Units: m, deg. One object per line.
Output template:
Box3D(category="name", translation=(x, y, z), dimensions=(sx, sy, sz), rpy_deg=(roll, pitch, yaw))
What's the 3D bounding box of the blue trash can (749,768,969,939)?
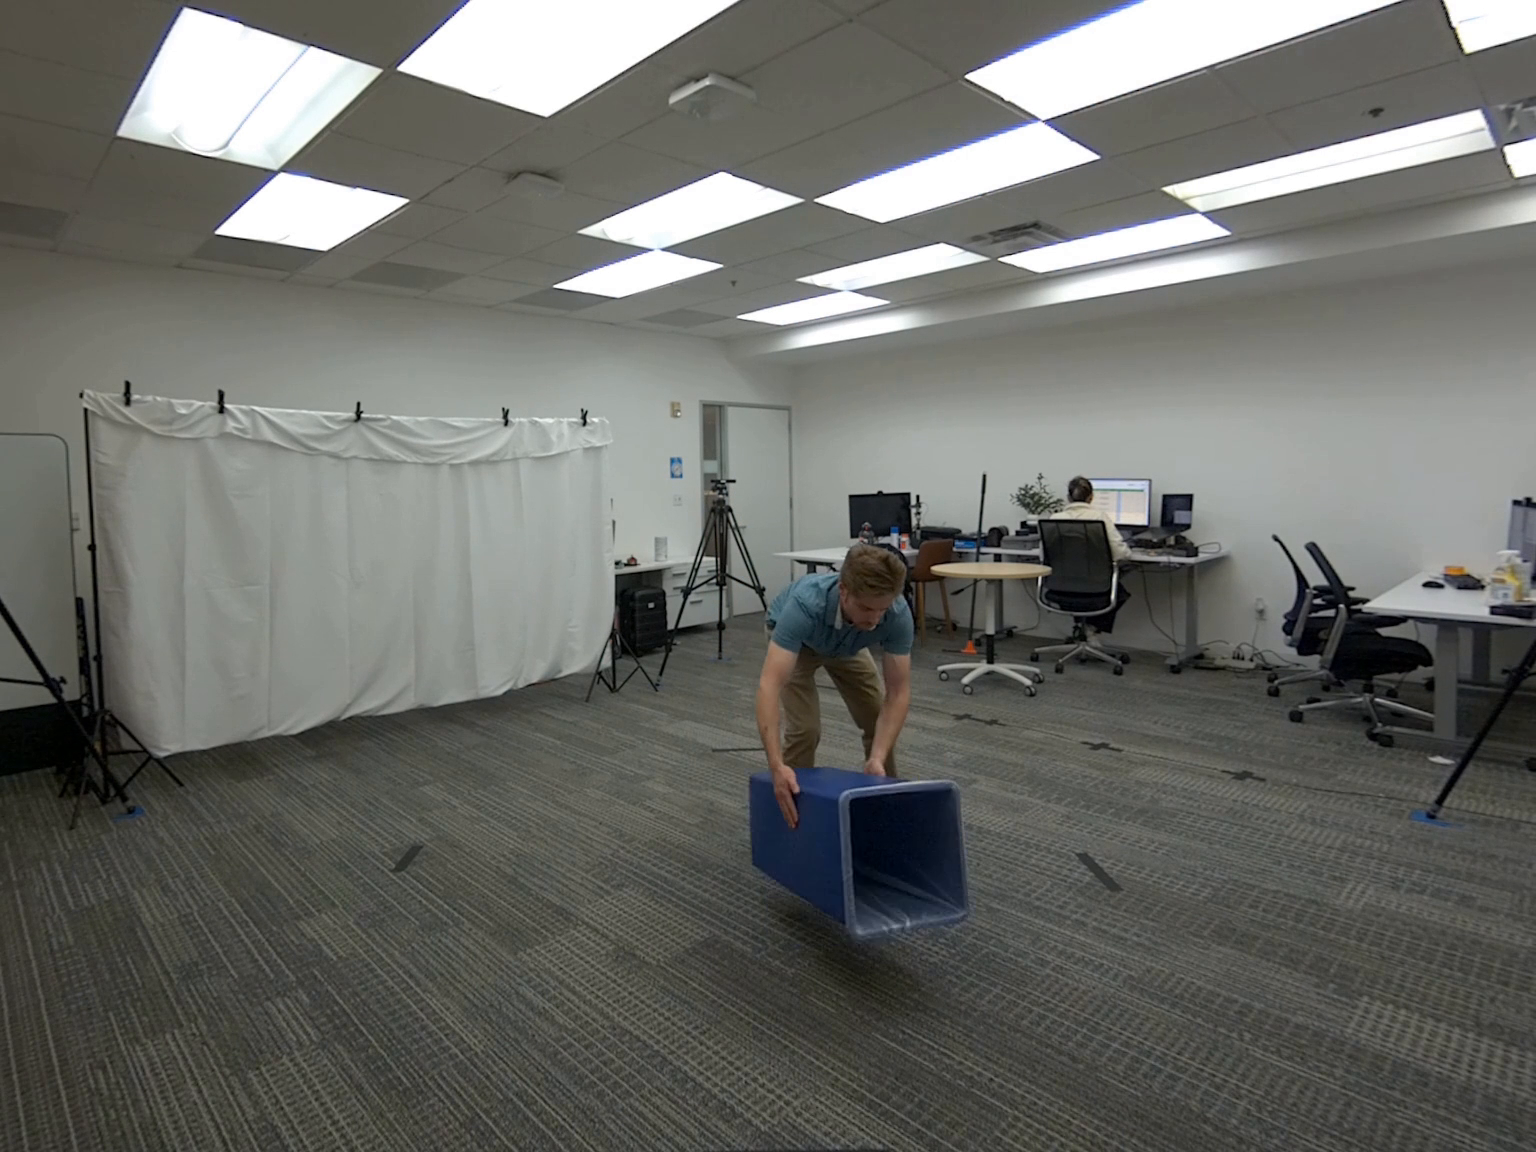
Box3D(category="blue trash can", translation=(0.212, 0.796, 2.583), dimensions=(0.366, 0.381, 0.723), rpy_deg=(0, -7, -24))
